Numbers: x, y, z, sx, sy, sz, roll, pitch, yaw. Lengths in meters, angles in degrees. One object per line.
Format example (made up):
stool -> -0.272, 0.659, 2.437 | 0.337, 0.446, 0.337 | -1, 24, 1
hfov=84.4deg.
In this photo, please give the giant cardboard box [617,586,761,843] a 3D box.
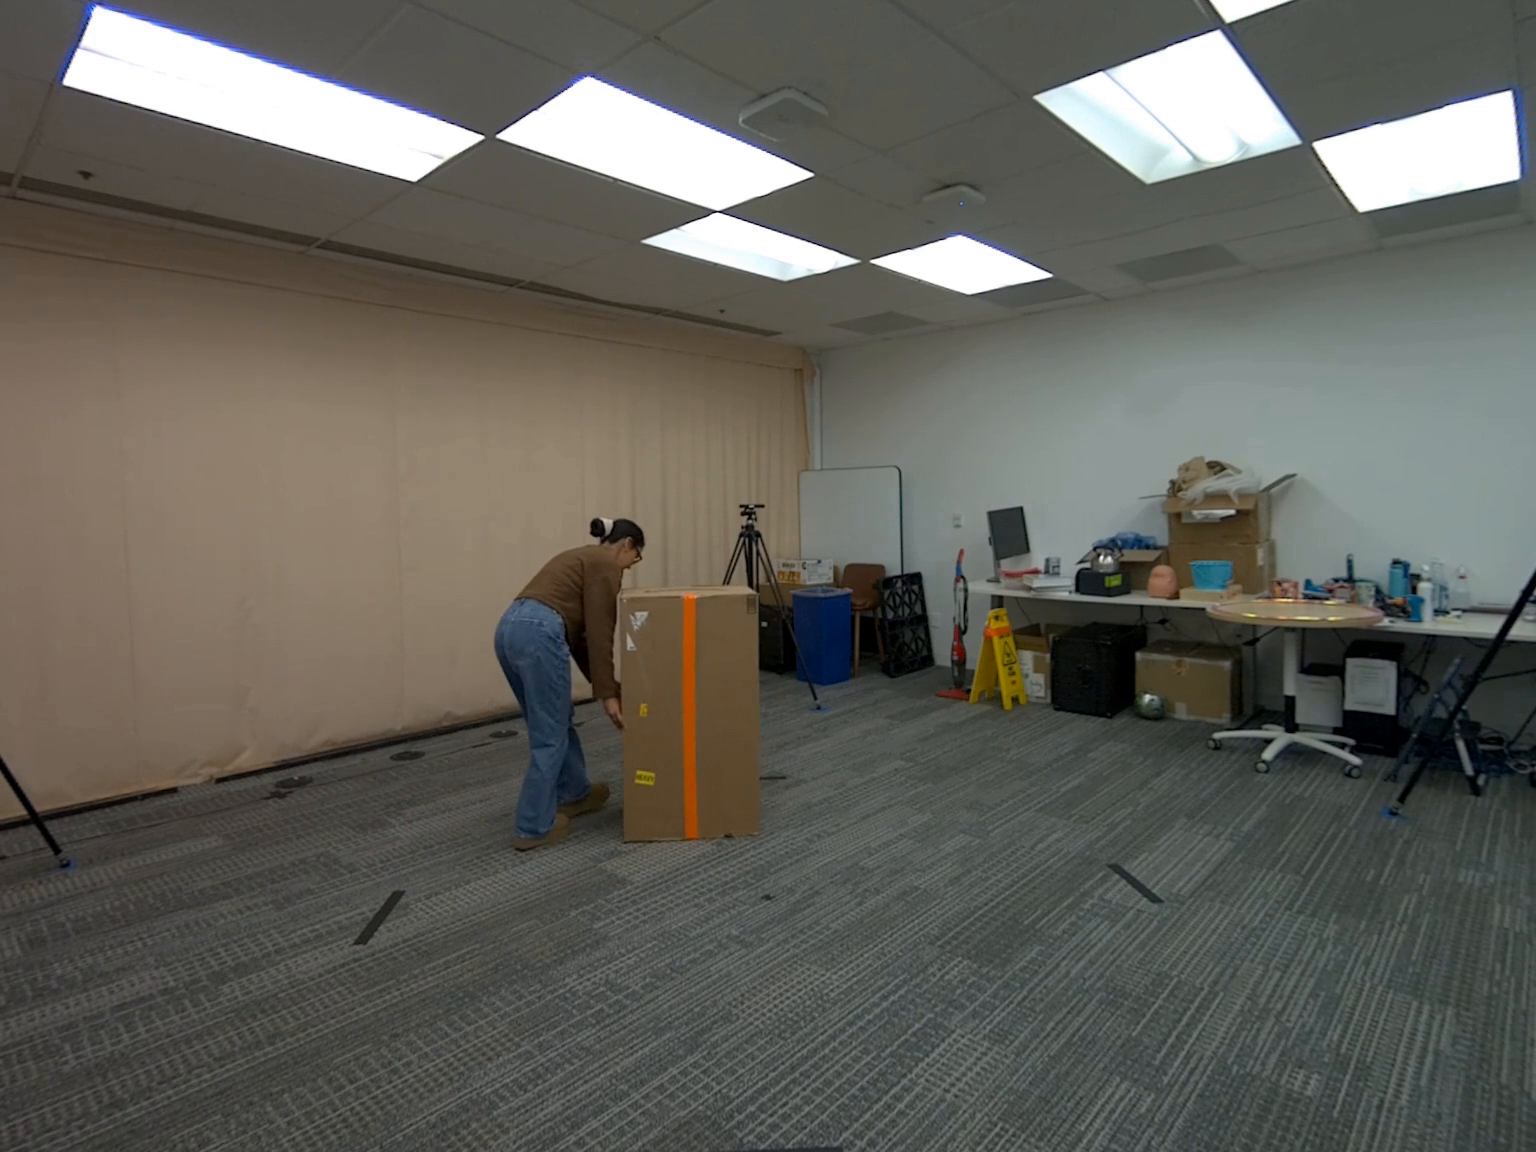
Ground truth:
giant cardboard box -> -0.352, 0.575, 3.703 | 0.573, 1.024, 0.430 | 0, 3, -8
